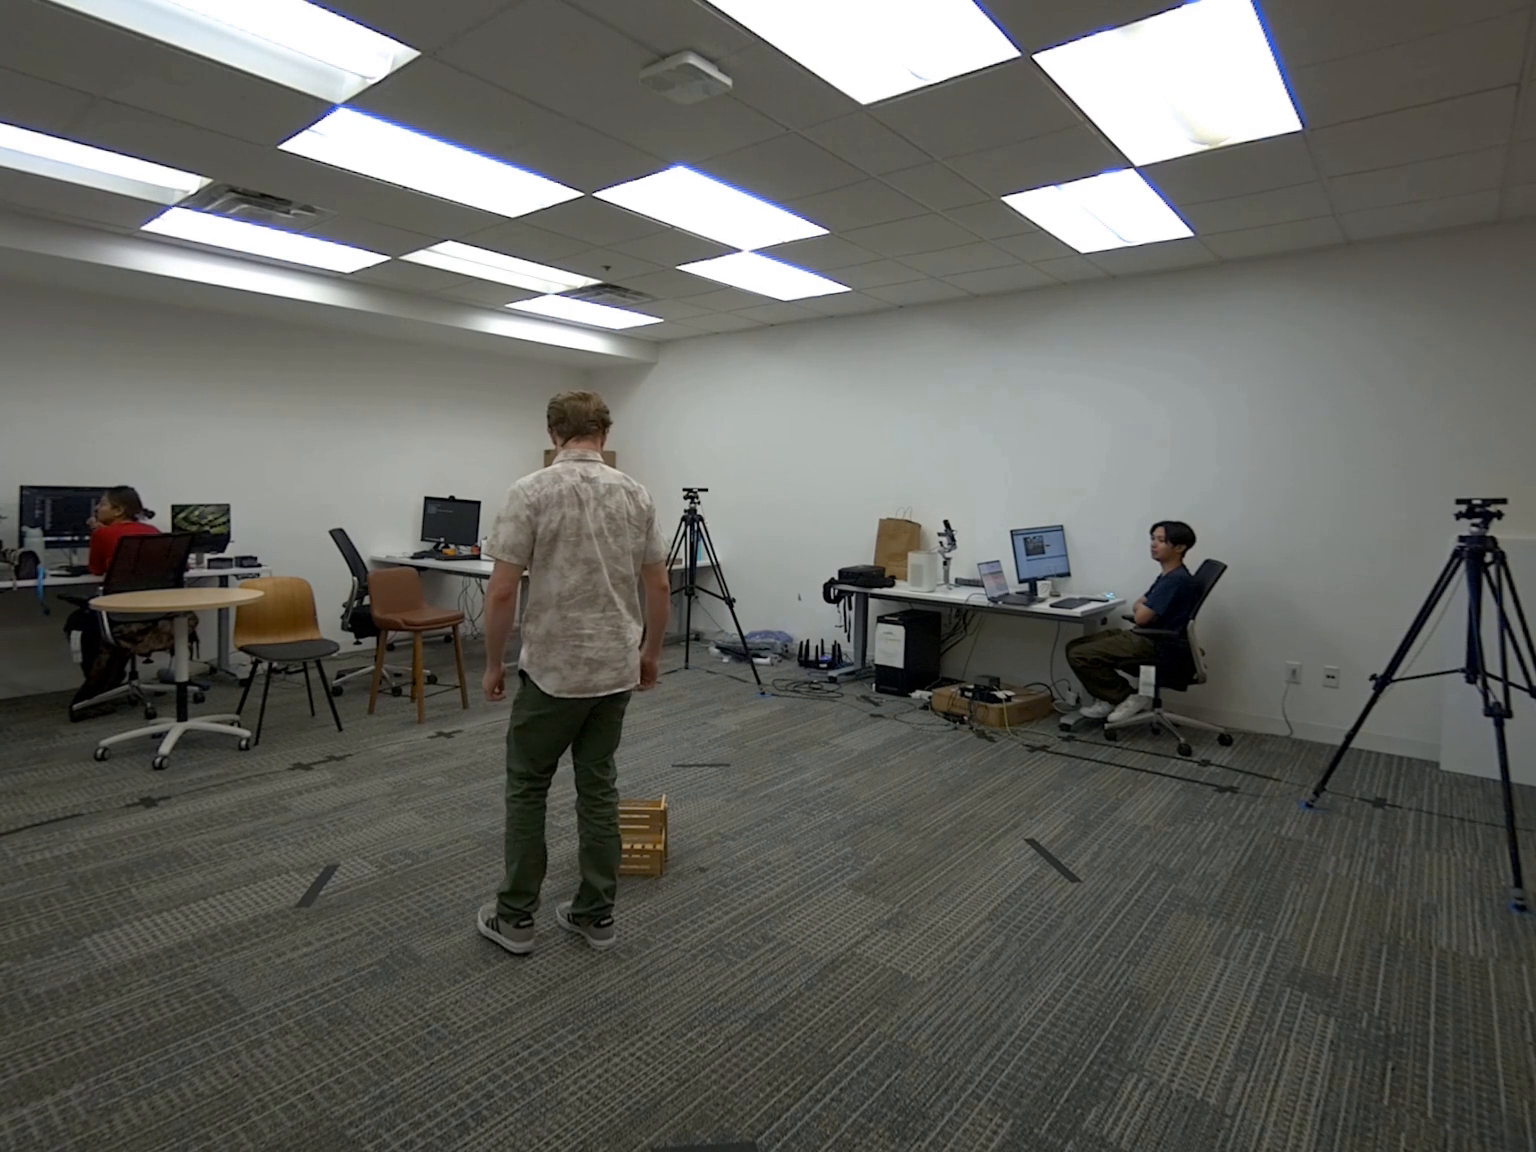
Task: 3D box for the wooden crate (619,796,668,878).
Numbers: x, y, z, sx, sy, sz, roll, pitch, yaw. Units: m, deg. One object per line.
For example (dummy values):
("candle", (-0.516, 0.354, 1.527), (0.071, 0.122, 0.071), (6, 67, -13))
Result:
("wooden crate", (-0.545, 0.929, 3.150), (0.324, 0.273, 0.303), (1, 3, -3))
